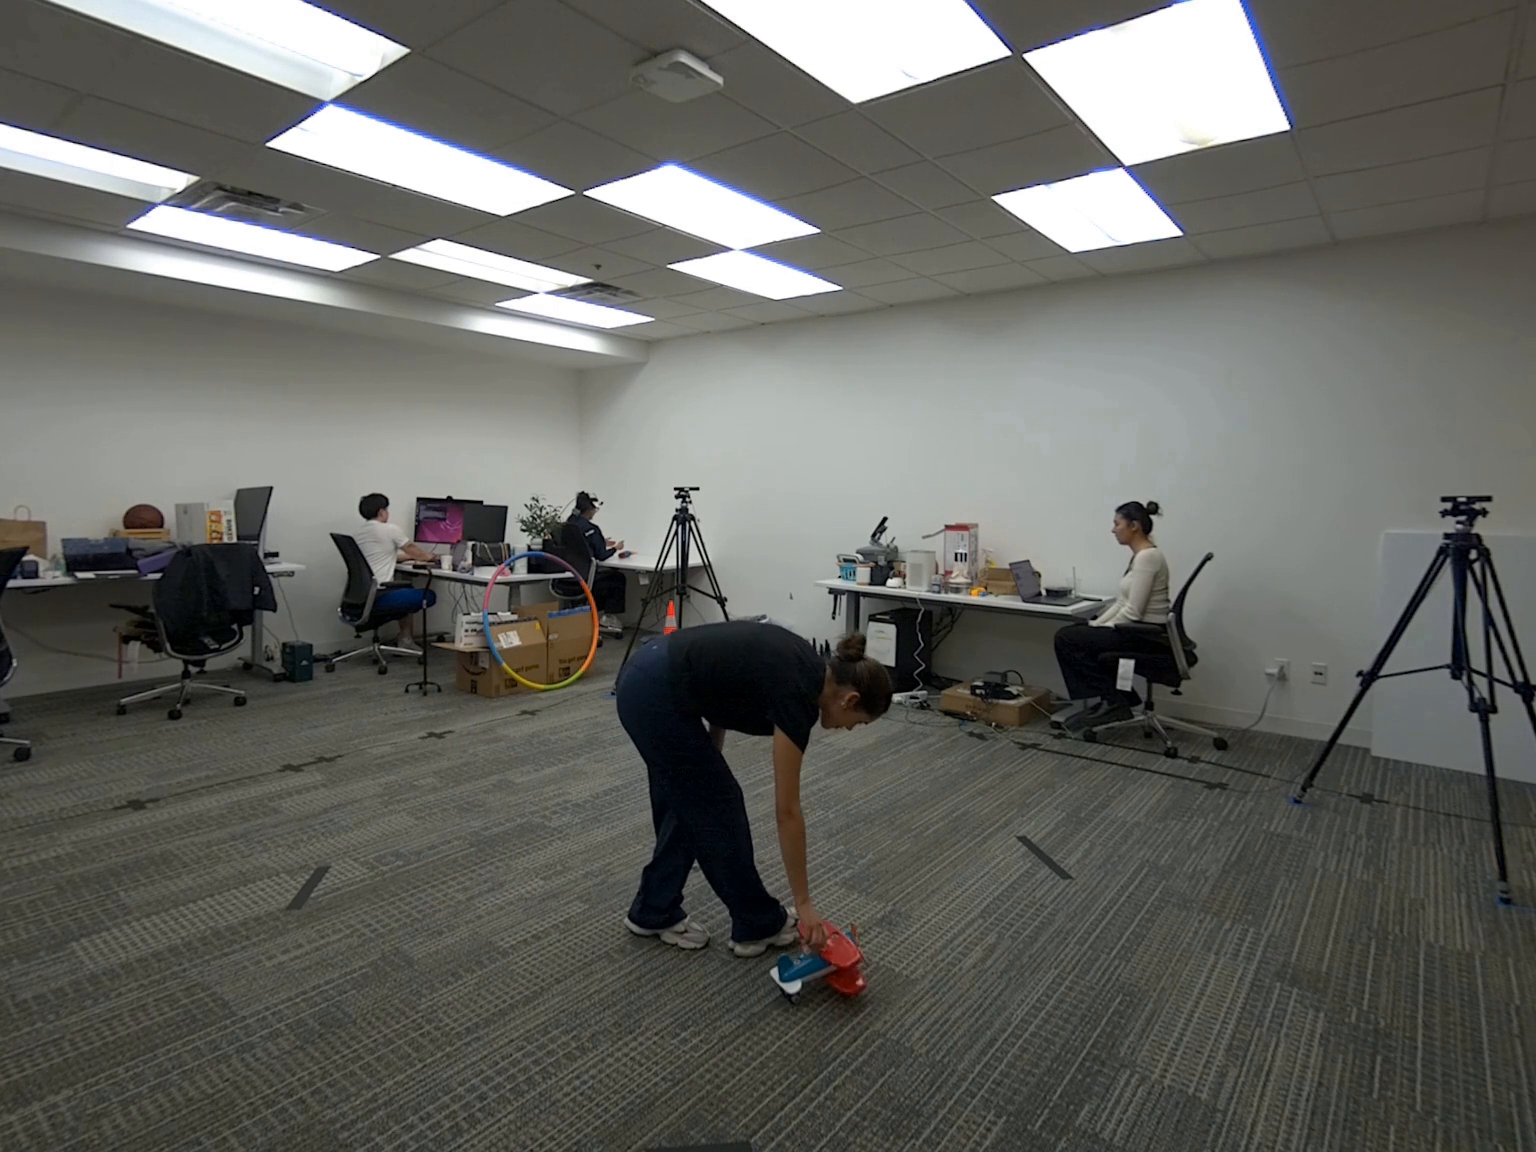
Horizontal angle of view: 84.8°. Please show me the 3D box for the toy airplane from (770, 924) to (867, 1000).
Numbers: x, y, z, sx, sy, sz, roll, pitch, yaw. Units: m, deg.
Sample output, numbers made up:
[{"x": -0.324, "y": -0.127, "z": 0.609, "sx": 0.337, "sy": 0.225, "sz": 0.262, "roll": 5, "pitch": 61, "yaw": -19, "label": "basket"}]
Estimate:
[{"x": 0.158, "y": 1.074, "z": 2.354, "sx": 0.259, "sy": 0.156, "sz": 0.252, "roll": 4, "pitch": 6, "yaw": 35, "label": "toy airplane"}]
